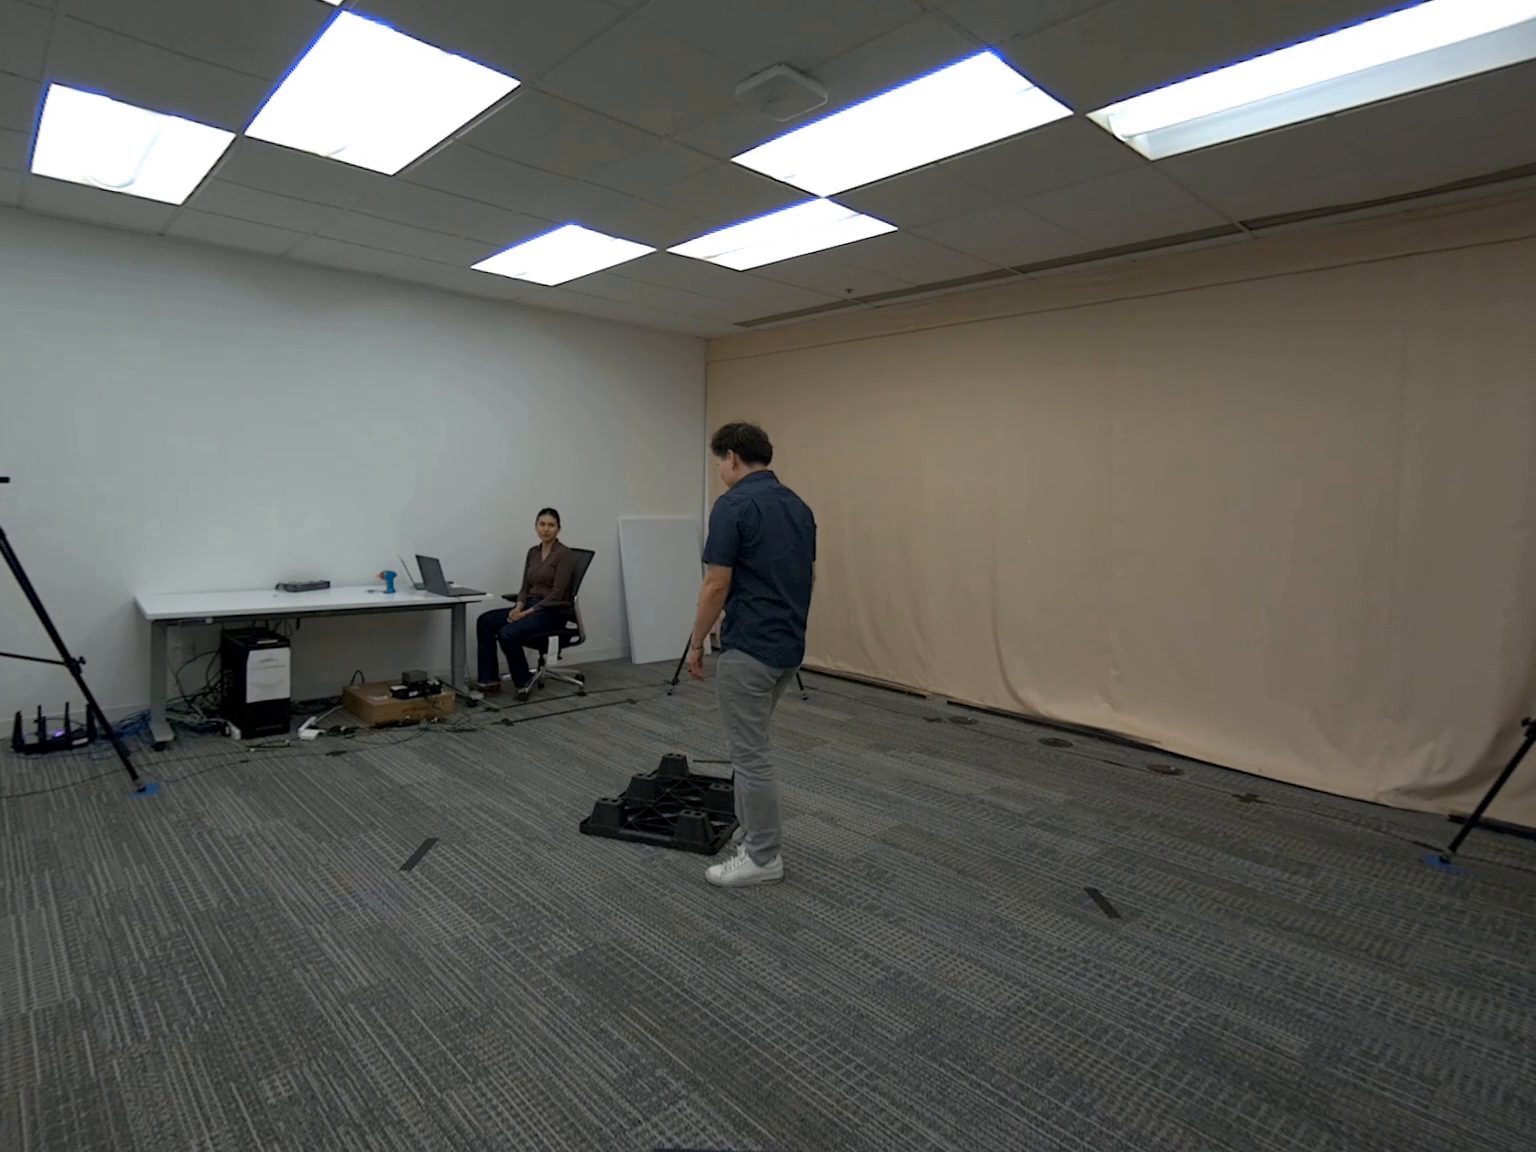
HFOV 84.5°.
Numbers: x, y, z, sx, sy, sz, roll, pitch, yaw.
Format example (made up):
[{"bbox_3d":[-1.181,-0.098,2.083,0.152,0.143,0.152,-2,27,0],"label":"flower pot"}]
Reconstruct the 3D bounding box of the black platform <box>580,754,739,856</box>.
[{"bbox_3d":[-0.393,0.978,3.732,0.614,0.143,0.796,4,5,17],"label":"black platform"}]
